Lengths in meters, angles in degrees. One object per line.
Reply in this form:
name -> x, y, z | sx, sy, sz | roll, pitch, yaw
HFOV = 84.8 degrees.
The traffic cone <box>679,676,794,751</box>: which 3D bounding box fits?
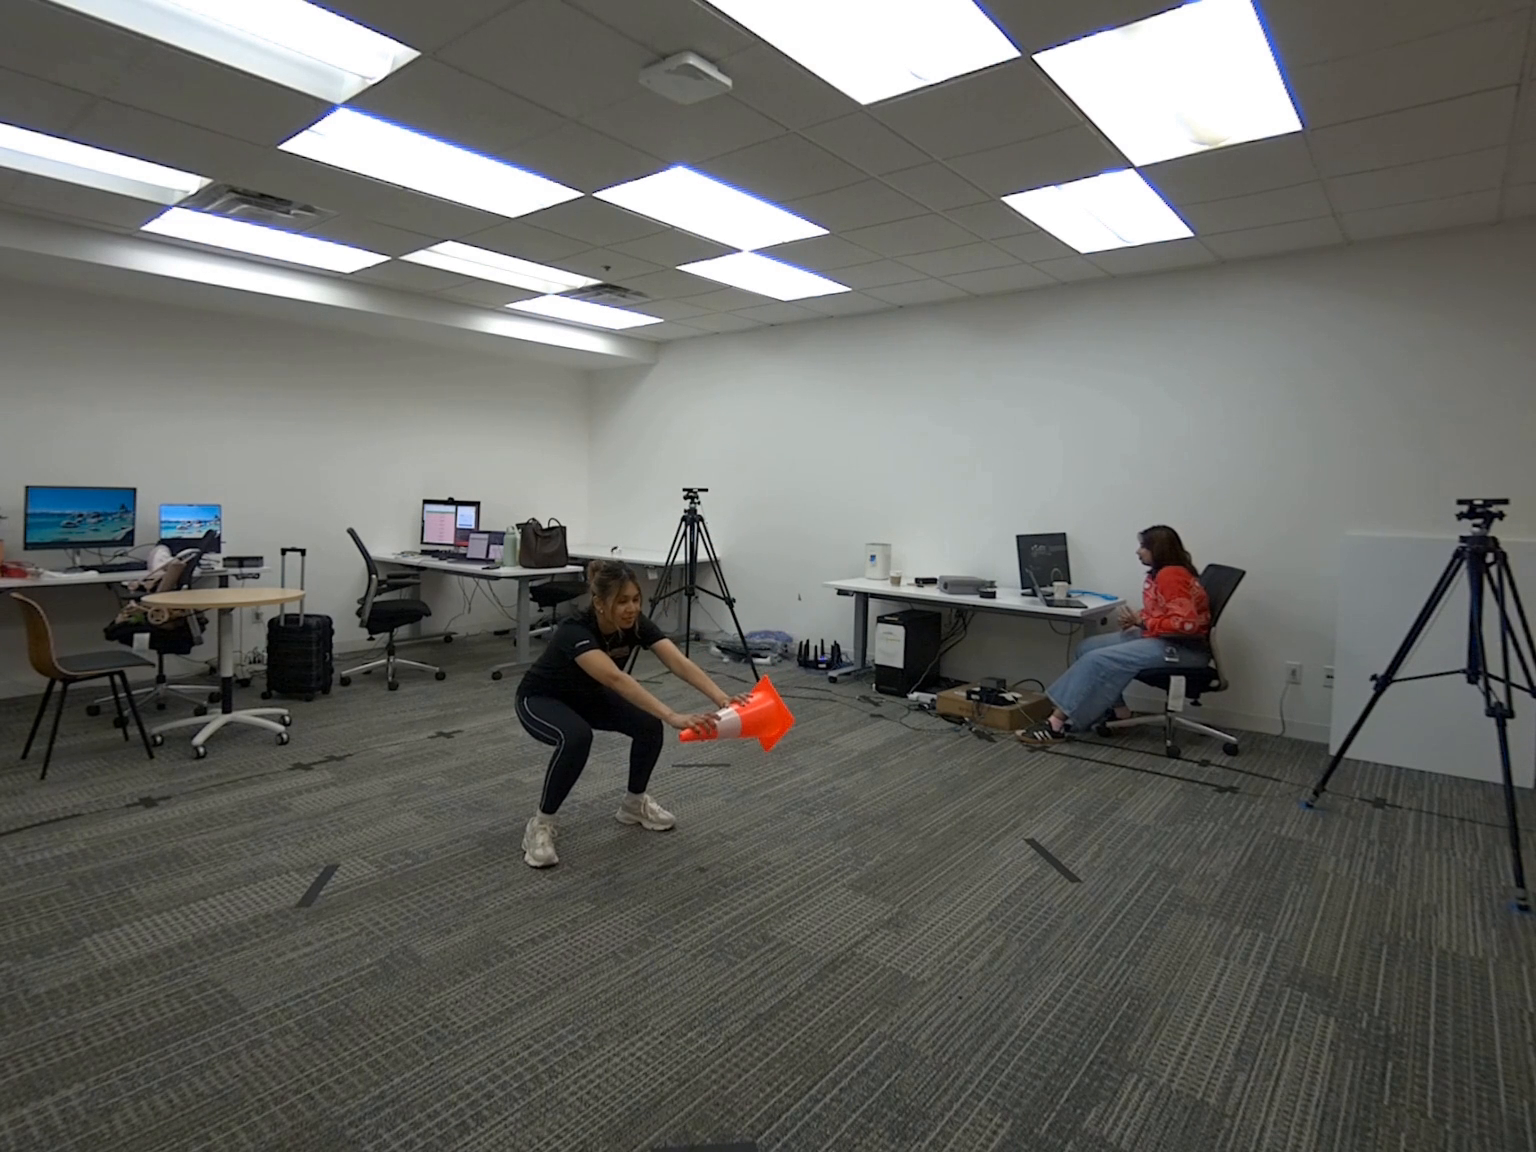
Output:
traffic cone -> -0.150, 0.477, 2.838 | 0.373, 0.203, 0.211 | -7, 51, -41
